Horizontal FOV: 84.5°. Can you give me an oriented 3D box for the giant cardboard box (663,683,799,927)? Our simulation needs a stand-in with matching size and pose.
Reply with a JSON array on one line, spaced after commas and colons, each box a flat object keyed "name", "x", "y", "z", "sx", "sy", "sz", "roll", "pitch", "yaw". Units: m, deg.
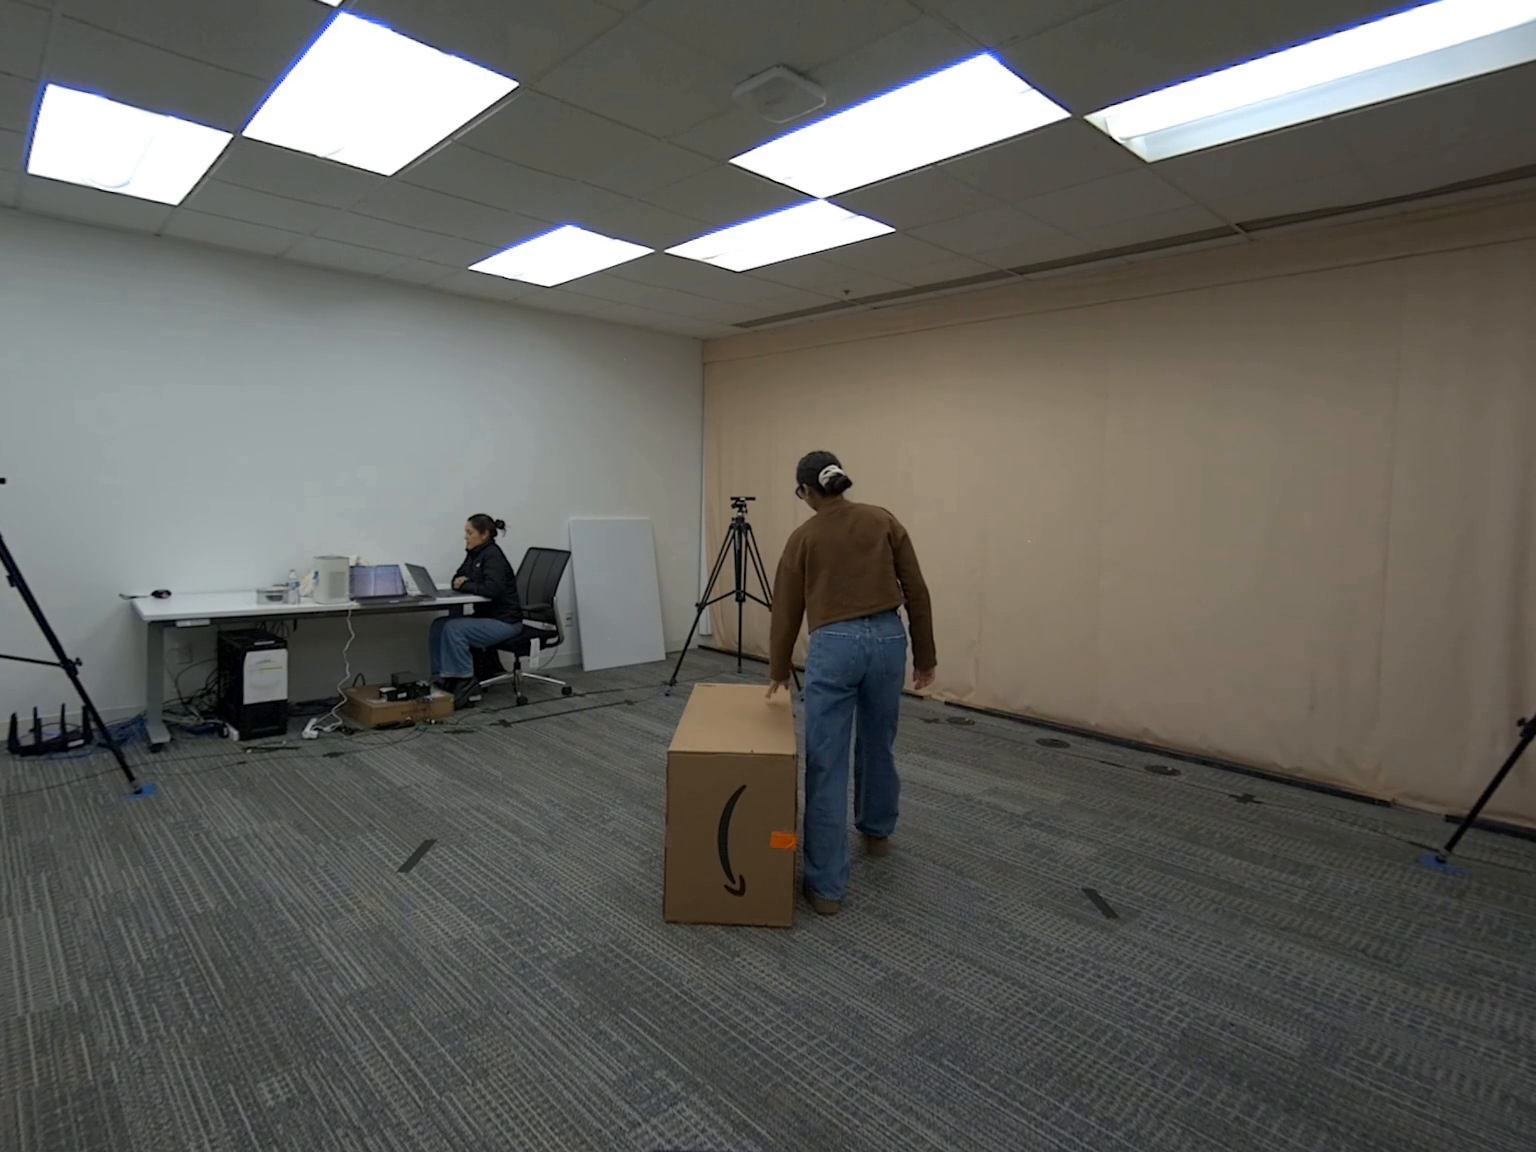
[{"name": "giant cardboard box", "x": -0.124, "y": 0.810, "z": 3.233, "sx": 0.447, "sy": 0.582, "sz": 1.028, "roll": 0, "pitch": 5, "yaw": 1}]
